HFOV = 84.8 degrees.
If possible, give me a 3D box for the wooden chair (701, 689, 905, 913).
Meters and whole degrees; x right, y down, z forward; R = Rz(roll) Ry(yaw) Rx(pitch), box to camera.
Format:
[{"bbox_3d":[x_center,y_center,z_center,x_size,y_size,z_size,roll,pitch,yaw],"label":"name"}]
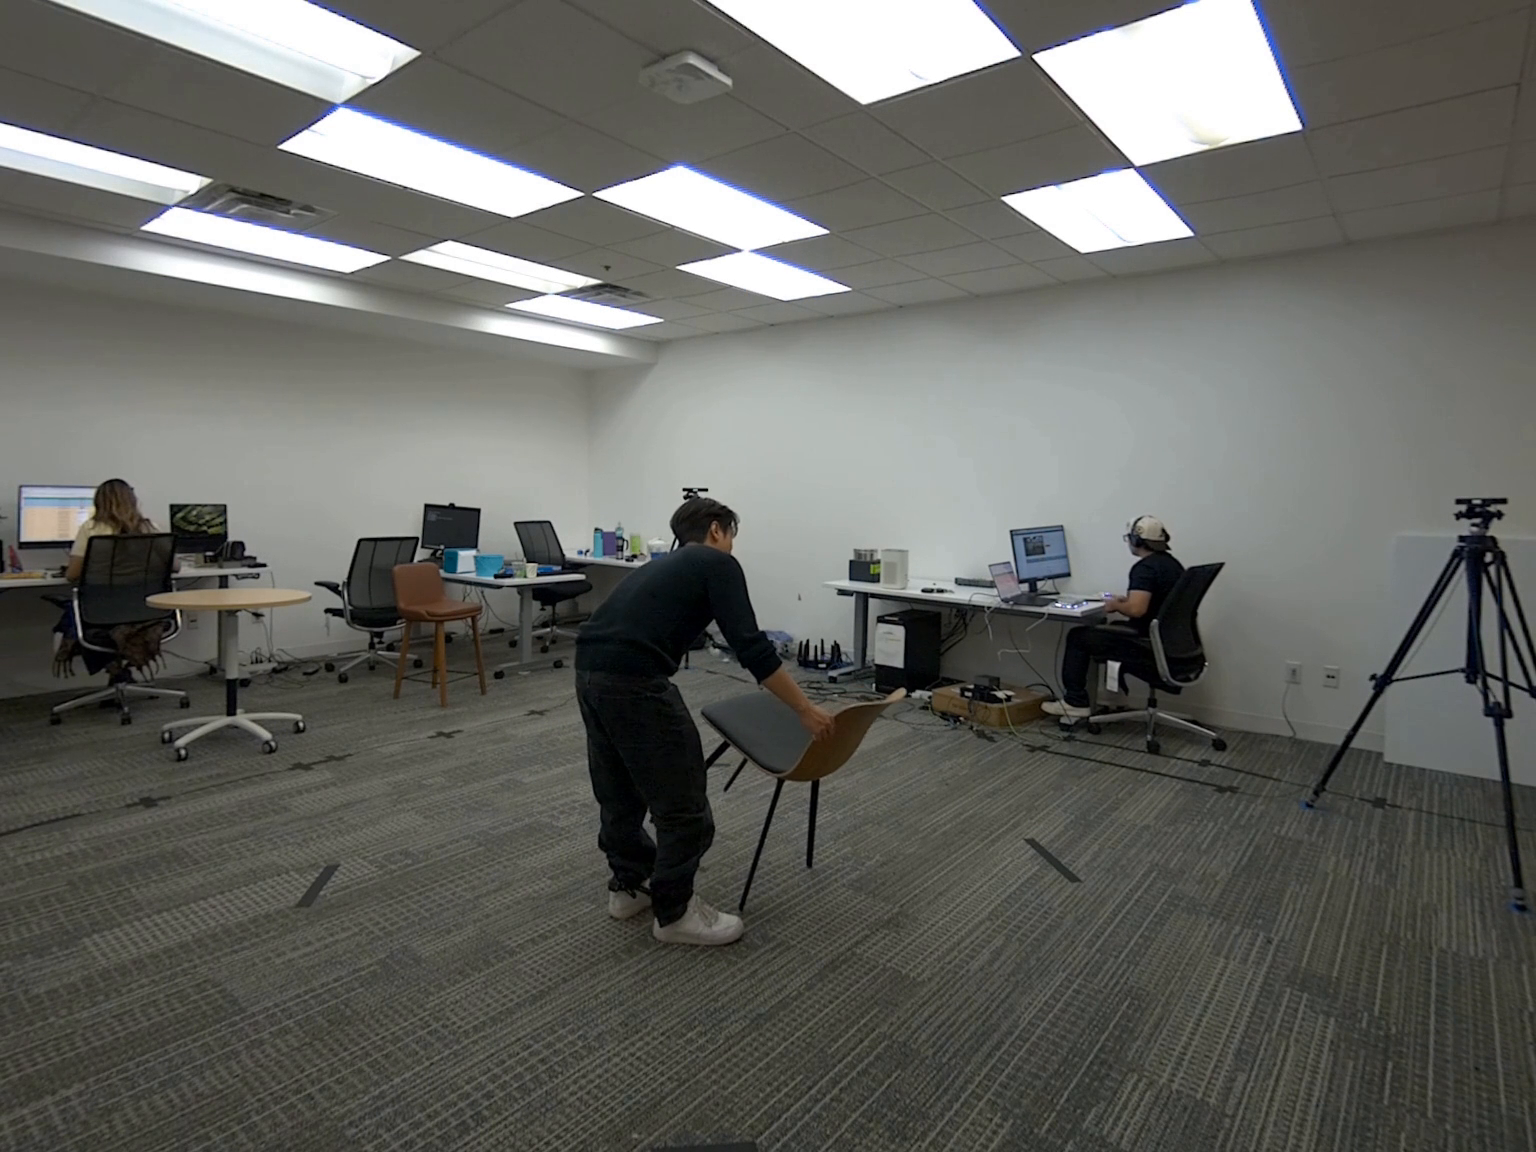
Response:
[{"bbox_3d":[0.010,0.597,2.962,0.542,0.871,0.464,39,24,28],"label":"wooden chair"}]
